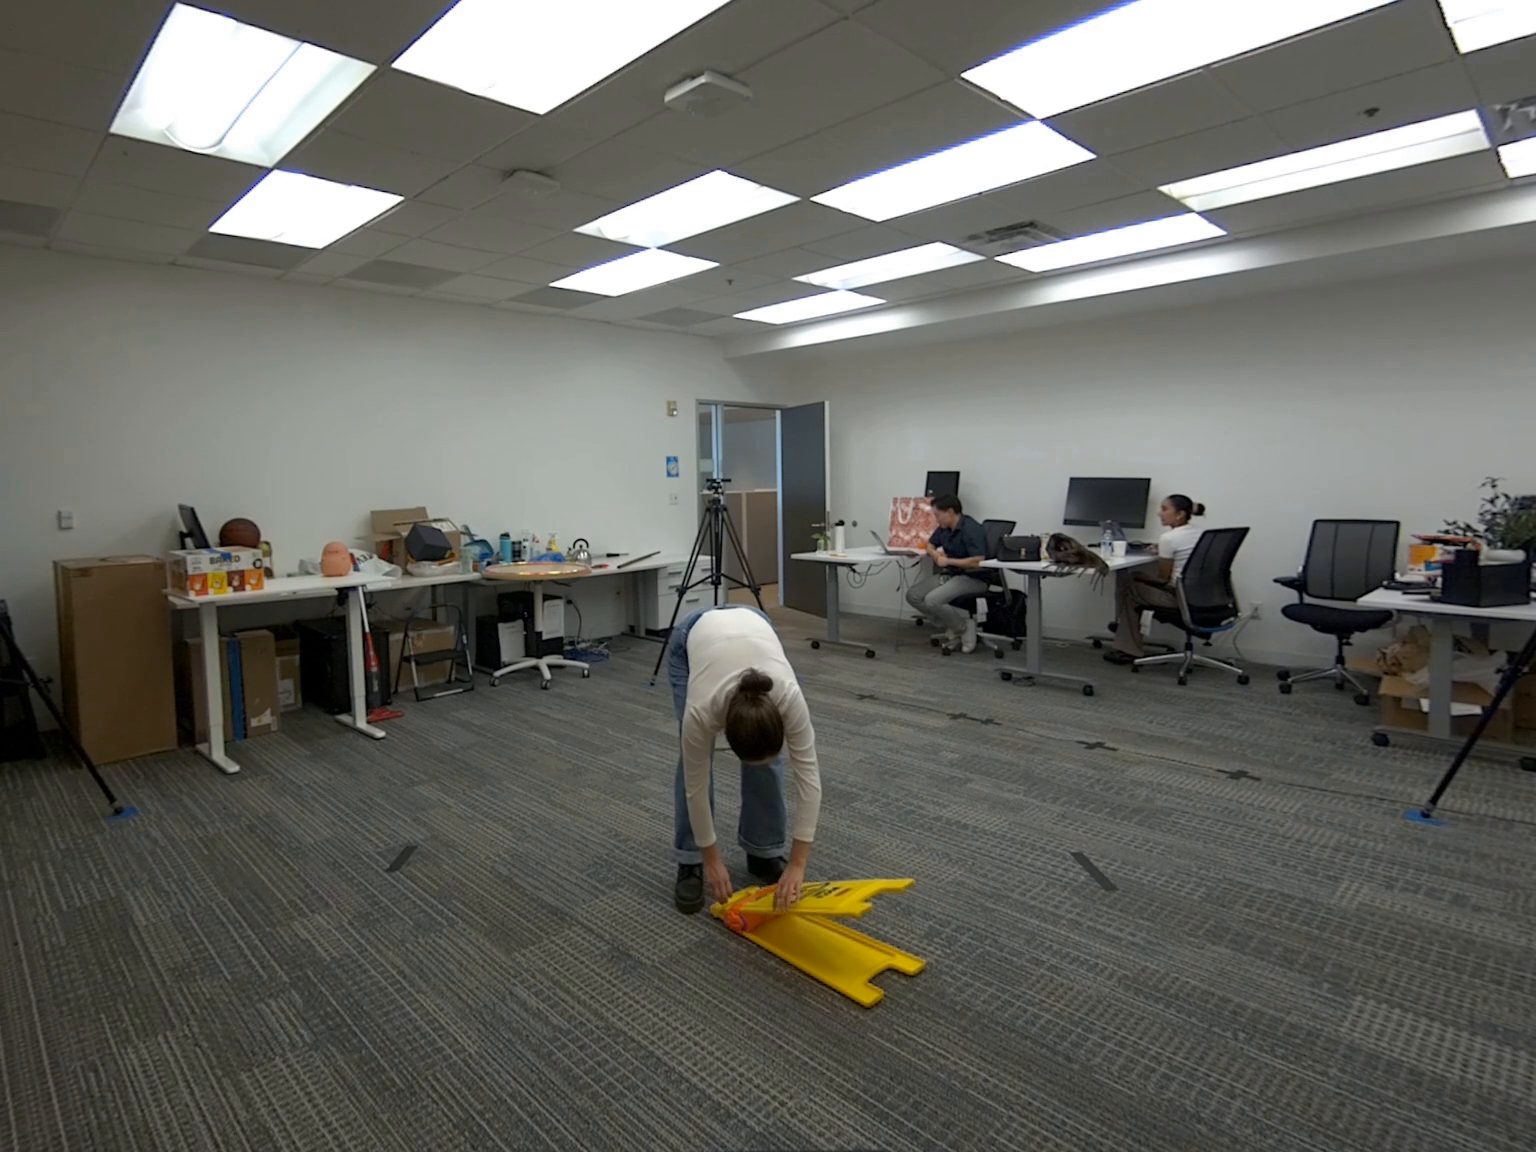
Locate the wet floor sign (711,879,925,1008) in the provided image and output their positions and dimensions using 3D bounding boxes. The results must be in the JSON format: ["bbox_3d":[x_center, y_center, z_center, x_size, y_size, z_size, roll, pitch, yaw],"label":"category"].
[{"bbox_3d":[0.118,1.038,2.566,0.274,0.291,0.661,-4,-3,-44],"label":"wet floor sign"}]
